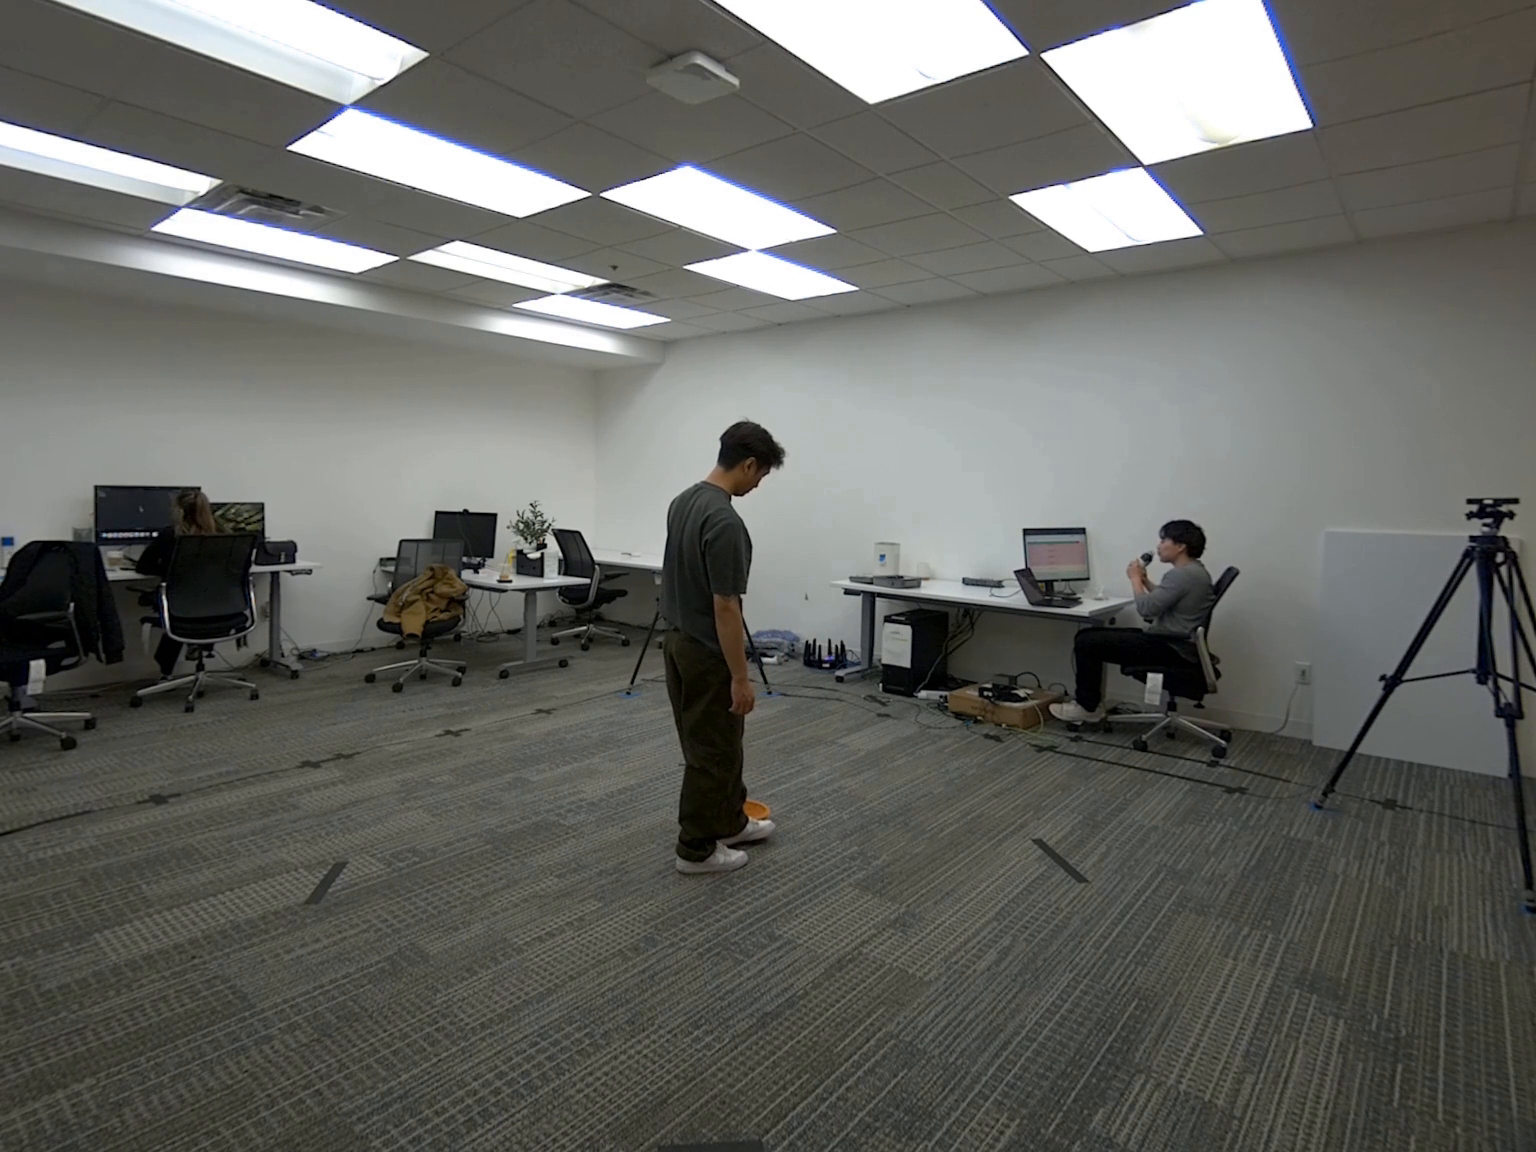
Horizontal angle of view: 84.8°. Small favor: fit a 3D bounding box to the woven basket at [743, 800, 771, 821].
[{"bbox_3d":[-0.173,0.982,3.502,0.348,0.073,0.255,0,5,-6],"label":"woven basket"}]
